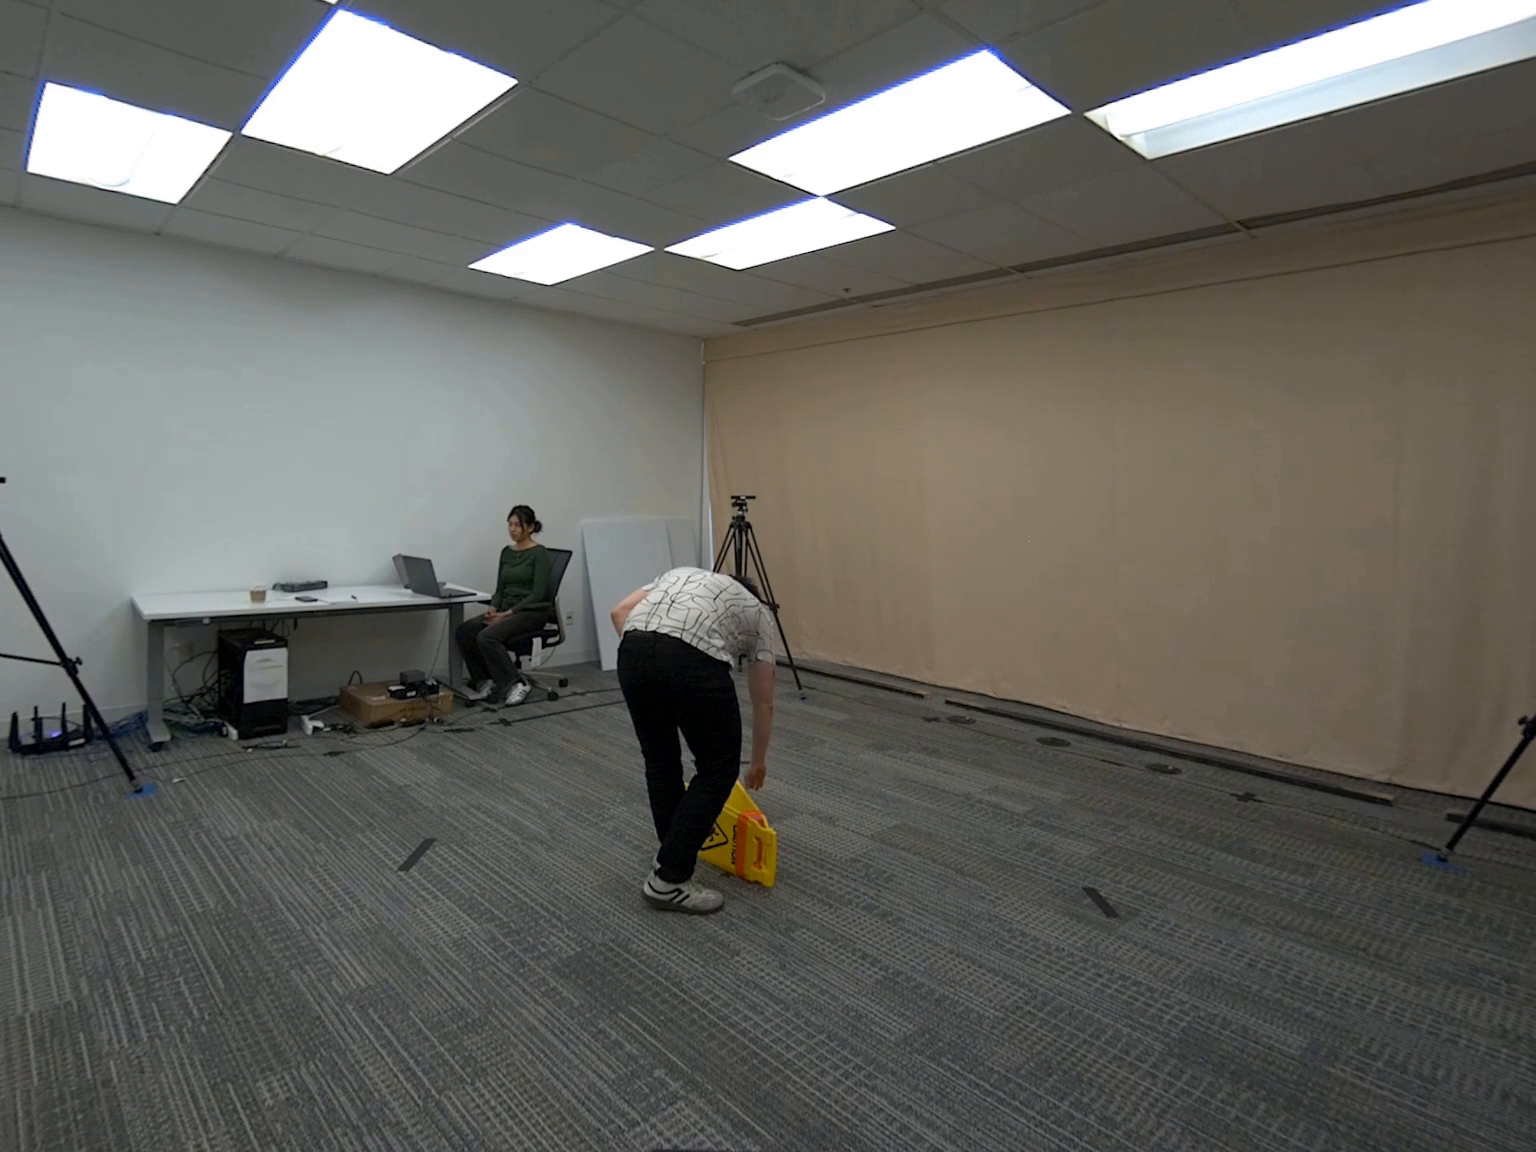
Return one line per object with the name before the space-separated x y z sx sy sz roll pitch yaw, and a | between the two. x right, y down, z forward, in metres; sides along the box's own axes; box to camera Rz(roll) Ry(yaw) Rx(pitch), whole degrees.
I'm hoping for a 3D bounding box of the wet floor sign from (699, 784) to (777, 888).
wet floor sign | -0.162 0.960 3.229 0.283 0.281 0.662 -1 7 -33
